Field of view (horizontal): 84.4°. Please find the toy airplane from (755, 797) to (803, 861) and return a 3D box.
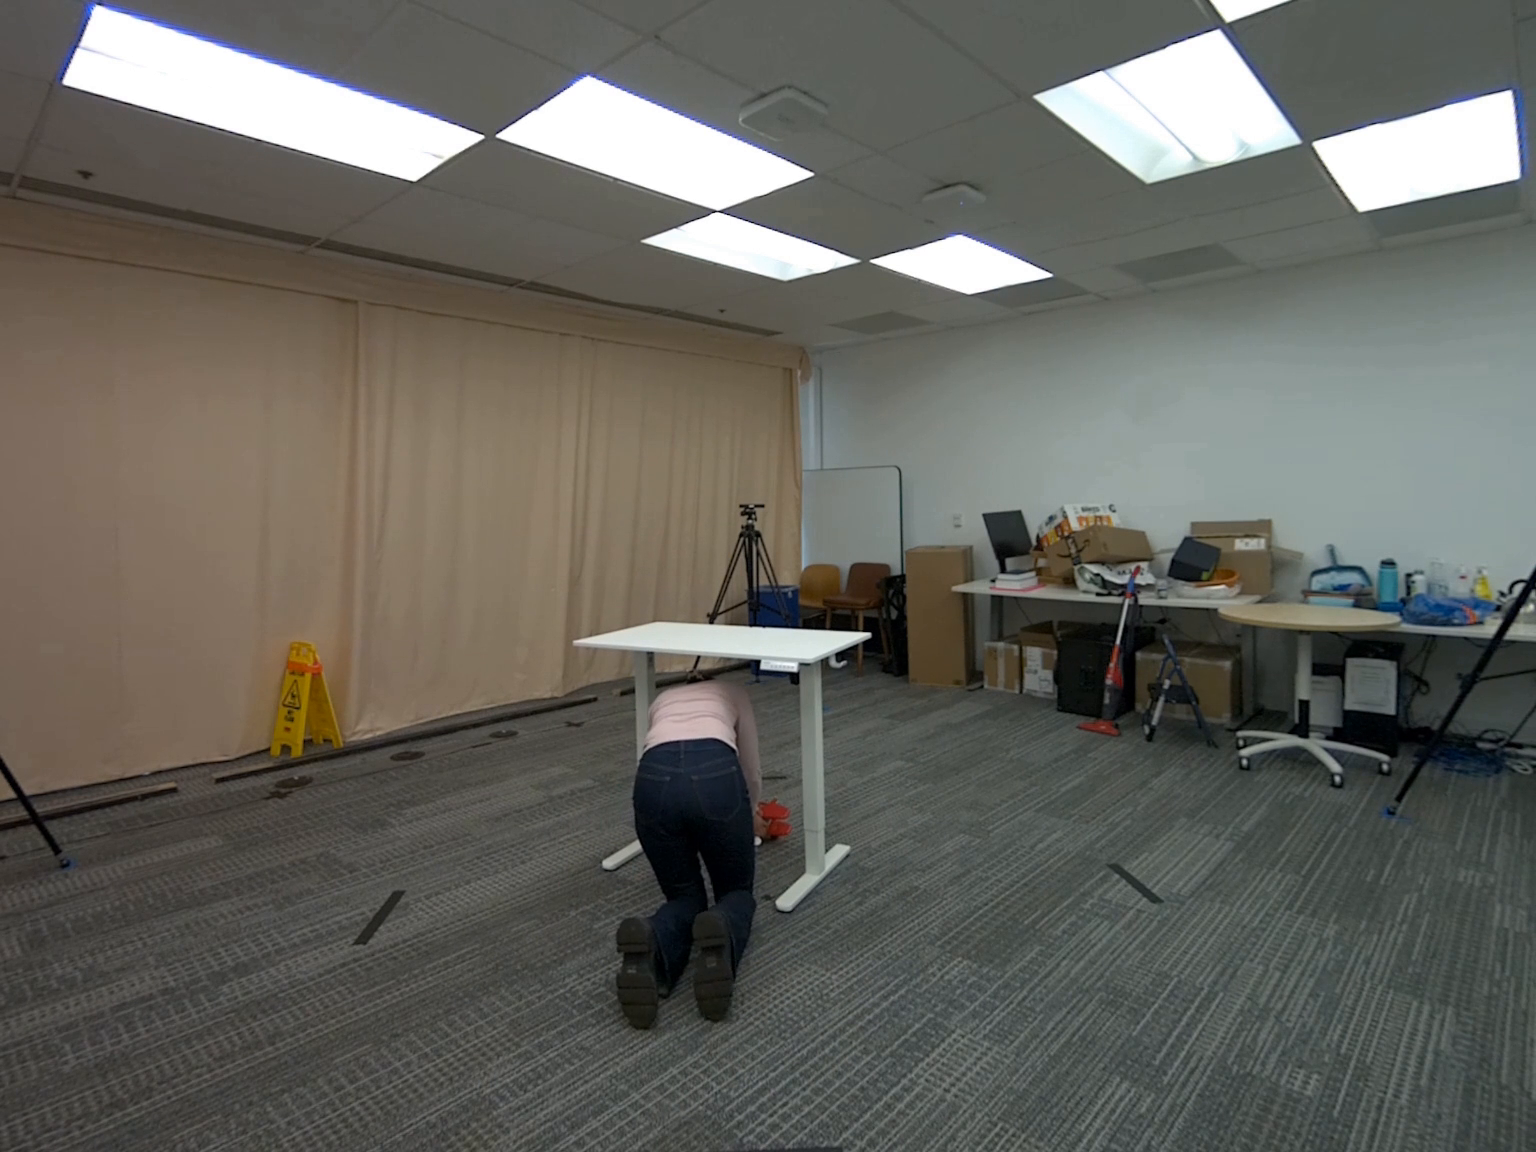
[{"bbox_3d":[-0.015,1.022,3.435,0.250,0.156,0.261,-4,1,-5],"label":"toy airplane"}]
